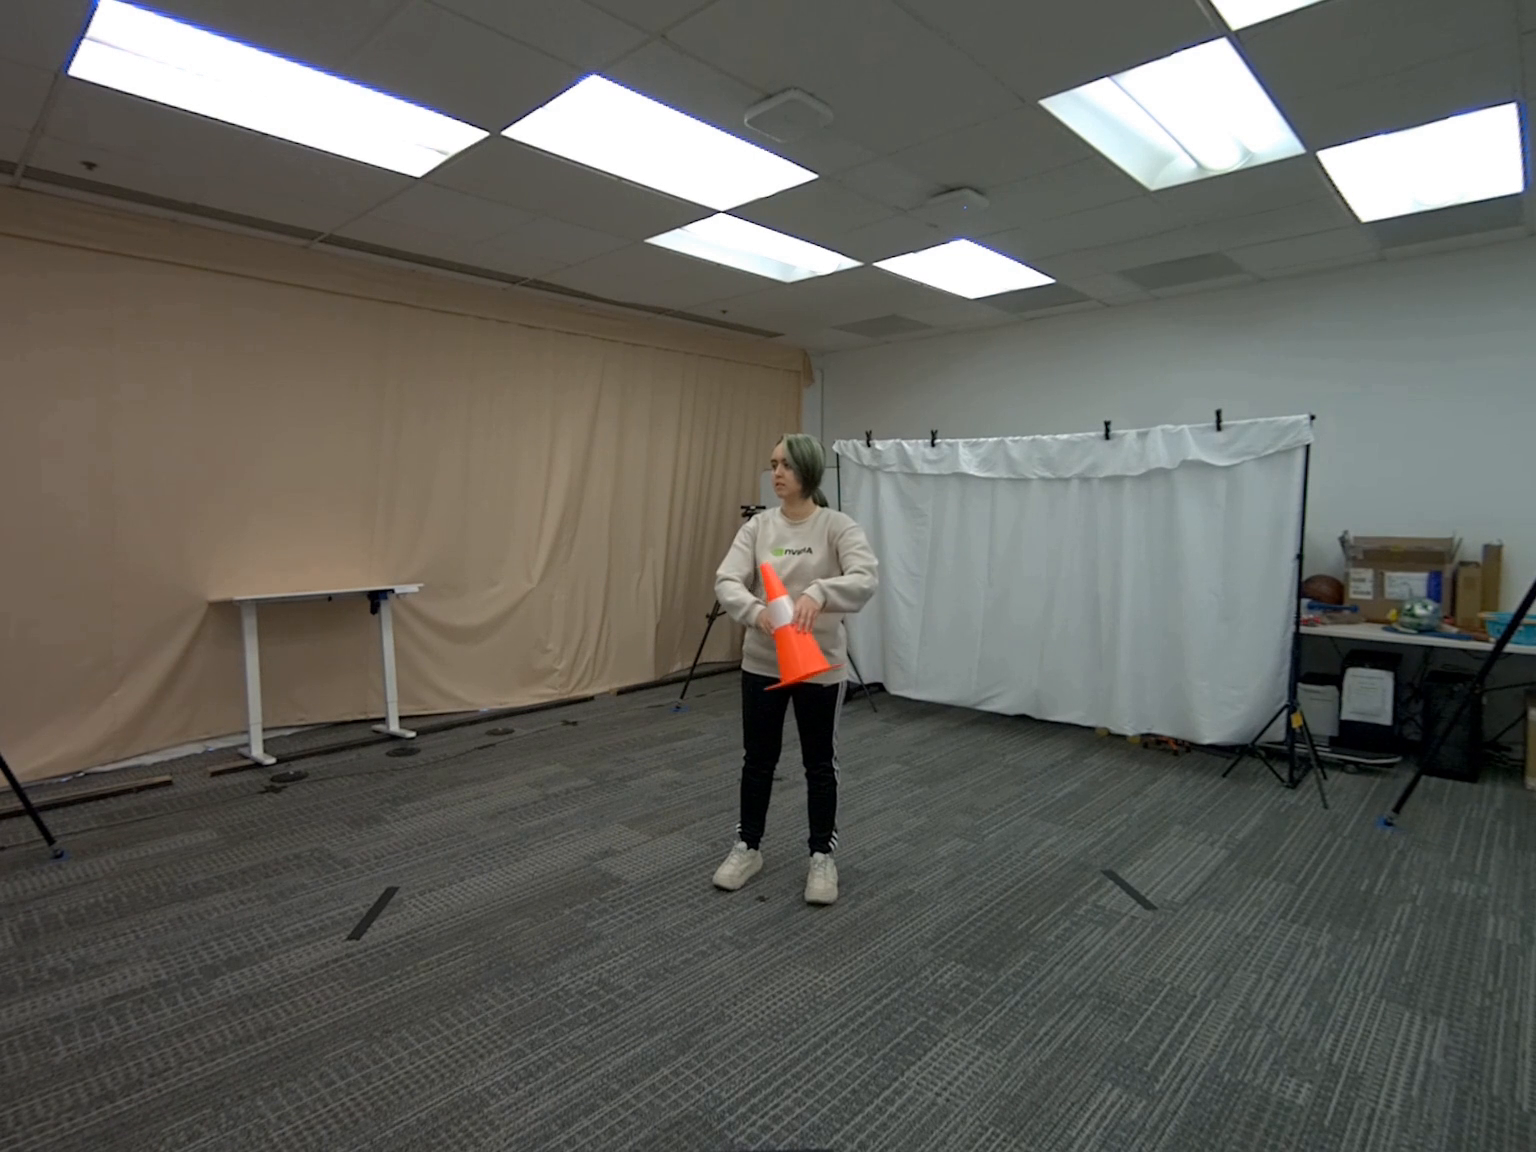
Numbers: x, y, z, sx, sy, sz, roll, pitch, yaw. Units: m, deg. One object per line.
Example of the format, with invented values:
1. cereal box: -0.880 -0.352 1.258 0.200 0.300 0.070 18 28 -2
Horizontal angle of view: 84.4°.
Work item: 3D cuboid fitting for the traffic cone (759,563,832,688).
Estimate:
1. traffic cone: 0.057 0.133 2.671 0.197 0.388 0.209 -4 -19 -47
